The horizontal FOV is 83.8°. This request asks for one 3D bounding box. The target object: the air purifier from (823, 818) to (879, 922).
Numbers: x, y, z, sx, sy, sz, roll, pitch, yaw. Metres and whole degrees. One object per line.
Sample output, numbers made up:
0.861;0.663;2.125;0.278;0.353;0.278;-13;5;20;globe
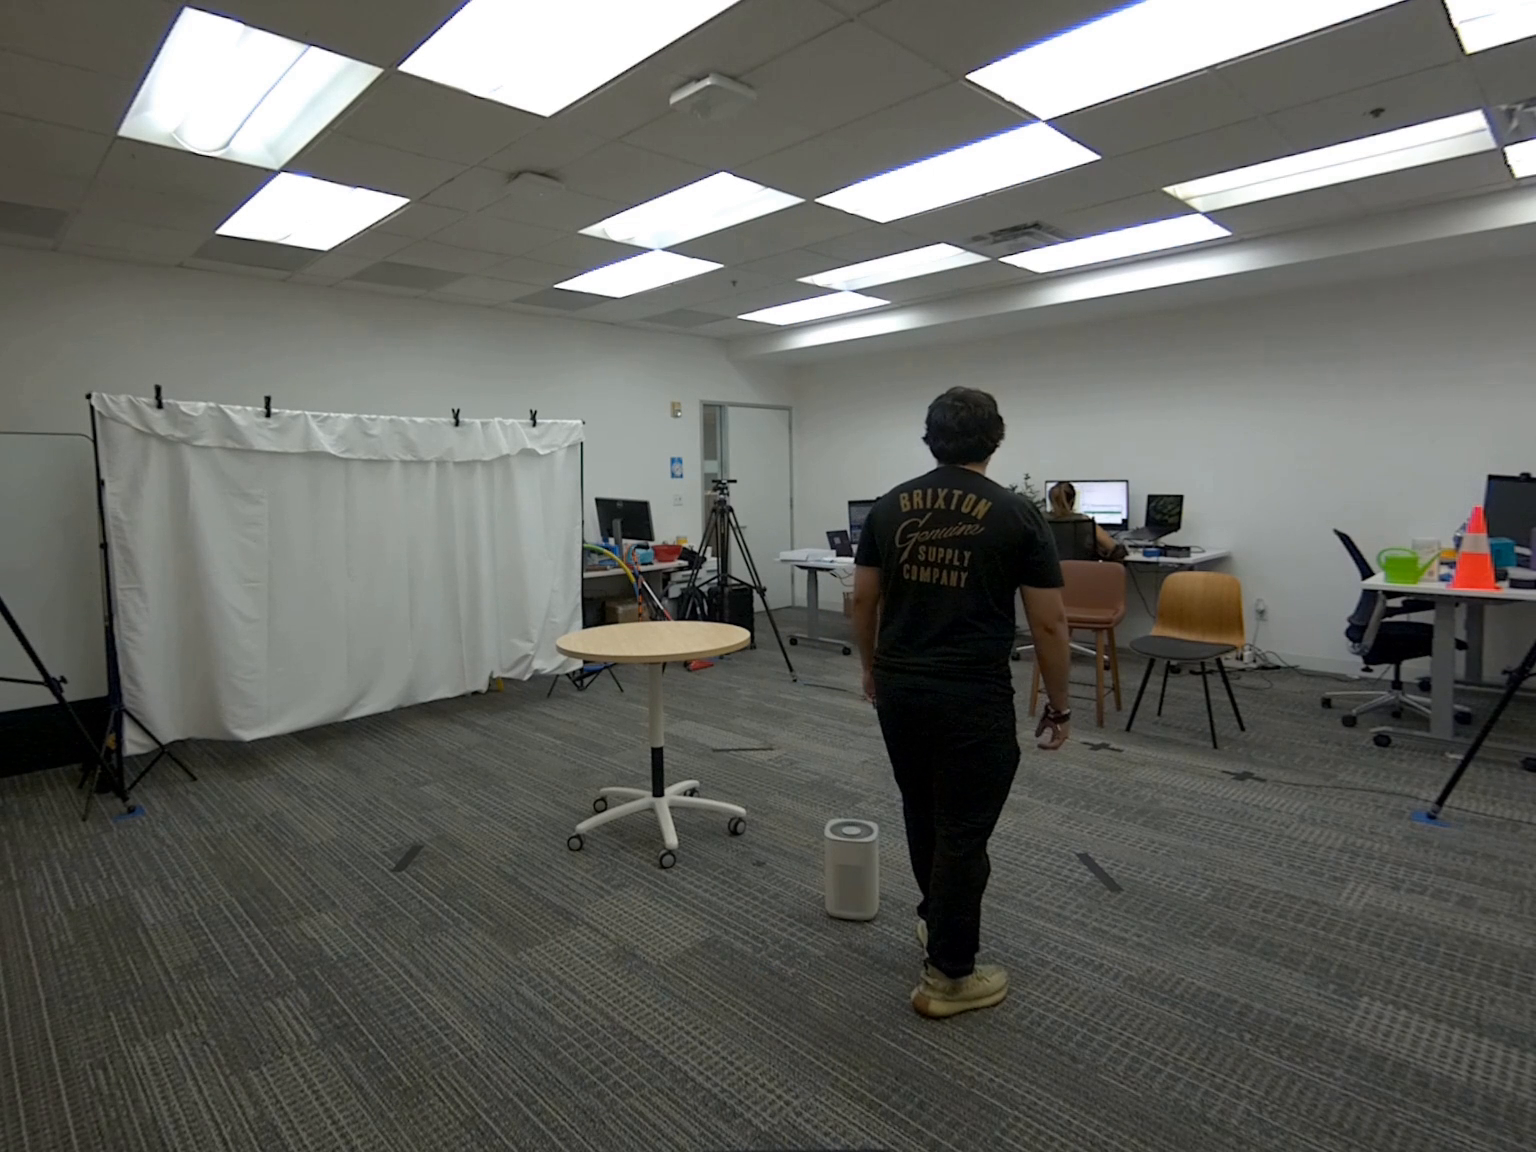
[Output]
0.278;0.945;2.758;0.176;0.261;0.166;0;4;16;air purifier
